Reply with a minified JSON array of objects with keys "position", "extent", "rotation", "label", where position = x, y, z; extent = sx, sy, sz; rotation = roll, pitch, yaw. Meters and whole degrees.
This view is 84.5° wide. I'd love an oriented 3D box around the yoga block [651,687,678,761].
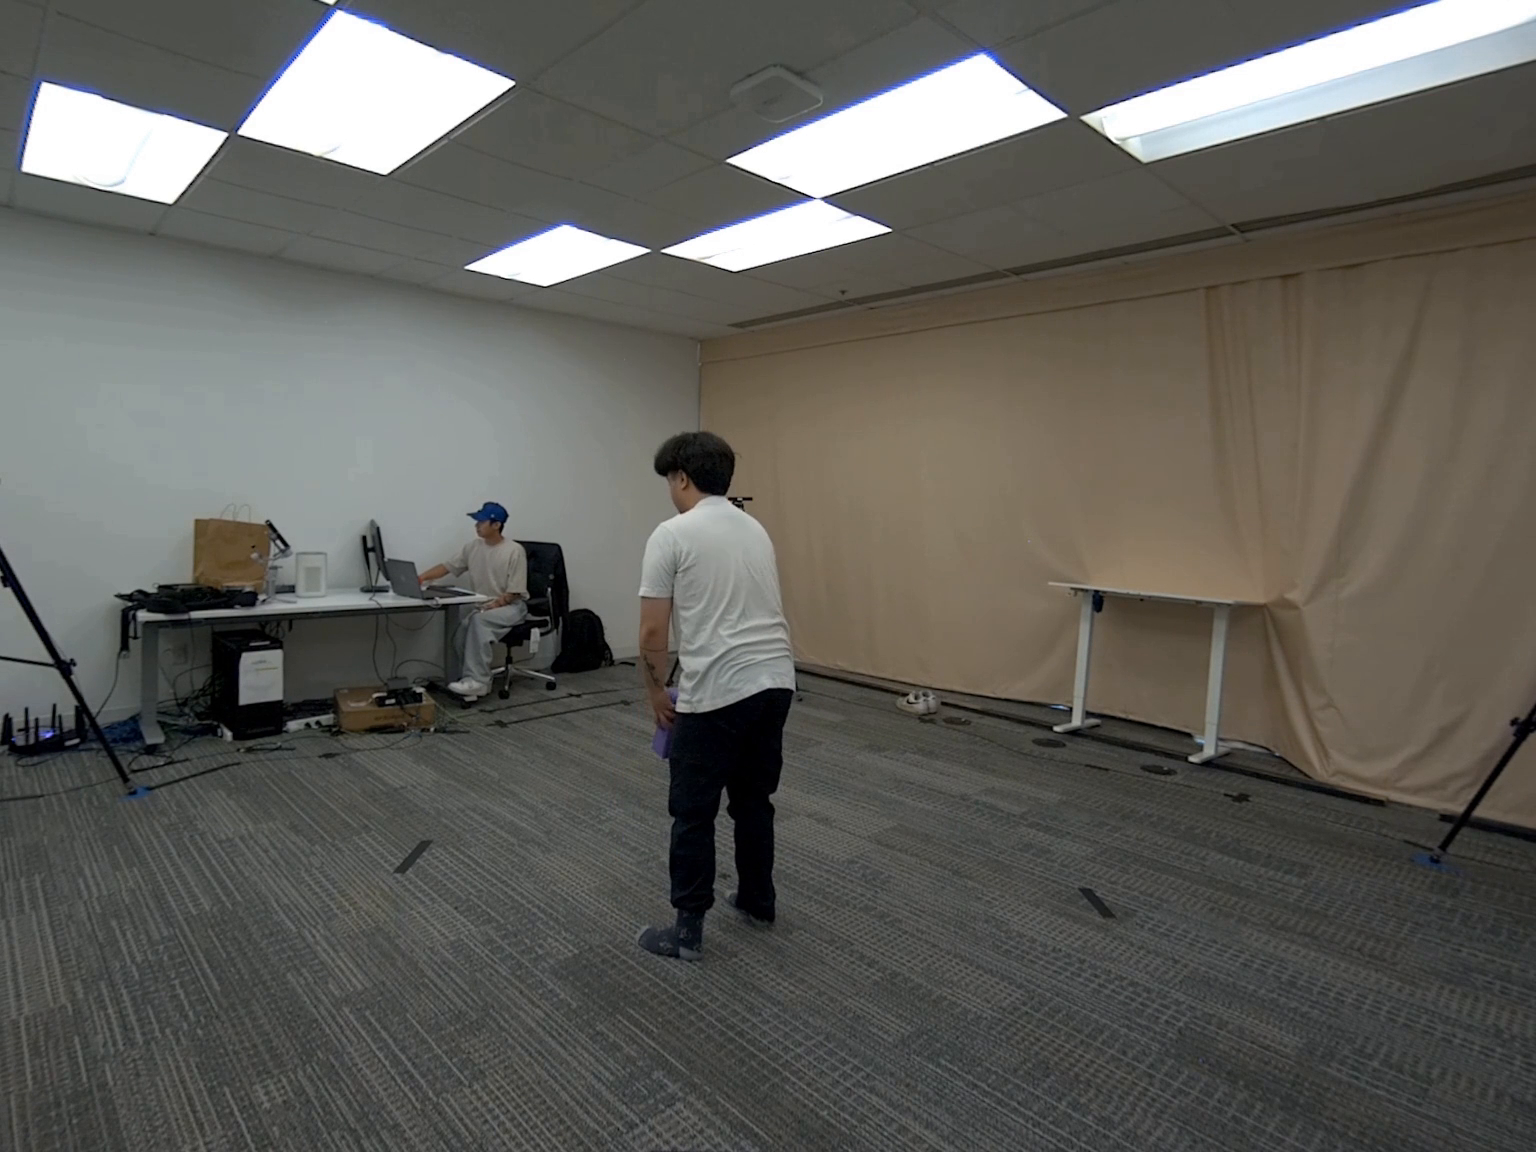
[{"position":[-0.295,0.493,2.807],"extent":[0.079,0.227,0.146],"rotation":[22,17,39],"label":"yoga block"}]
